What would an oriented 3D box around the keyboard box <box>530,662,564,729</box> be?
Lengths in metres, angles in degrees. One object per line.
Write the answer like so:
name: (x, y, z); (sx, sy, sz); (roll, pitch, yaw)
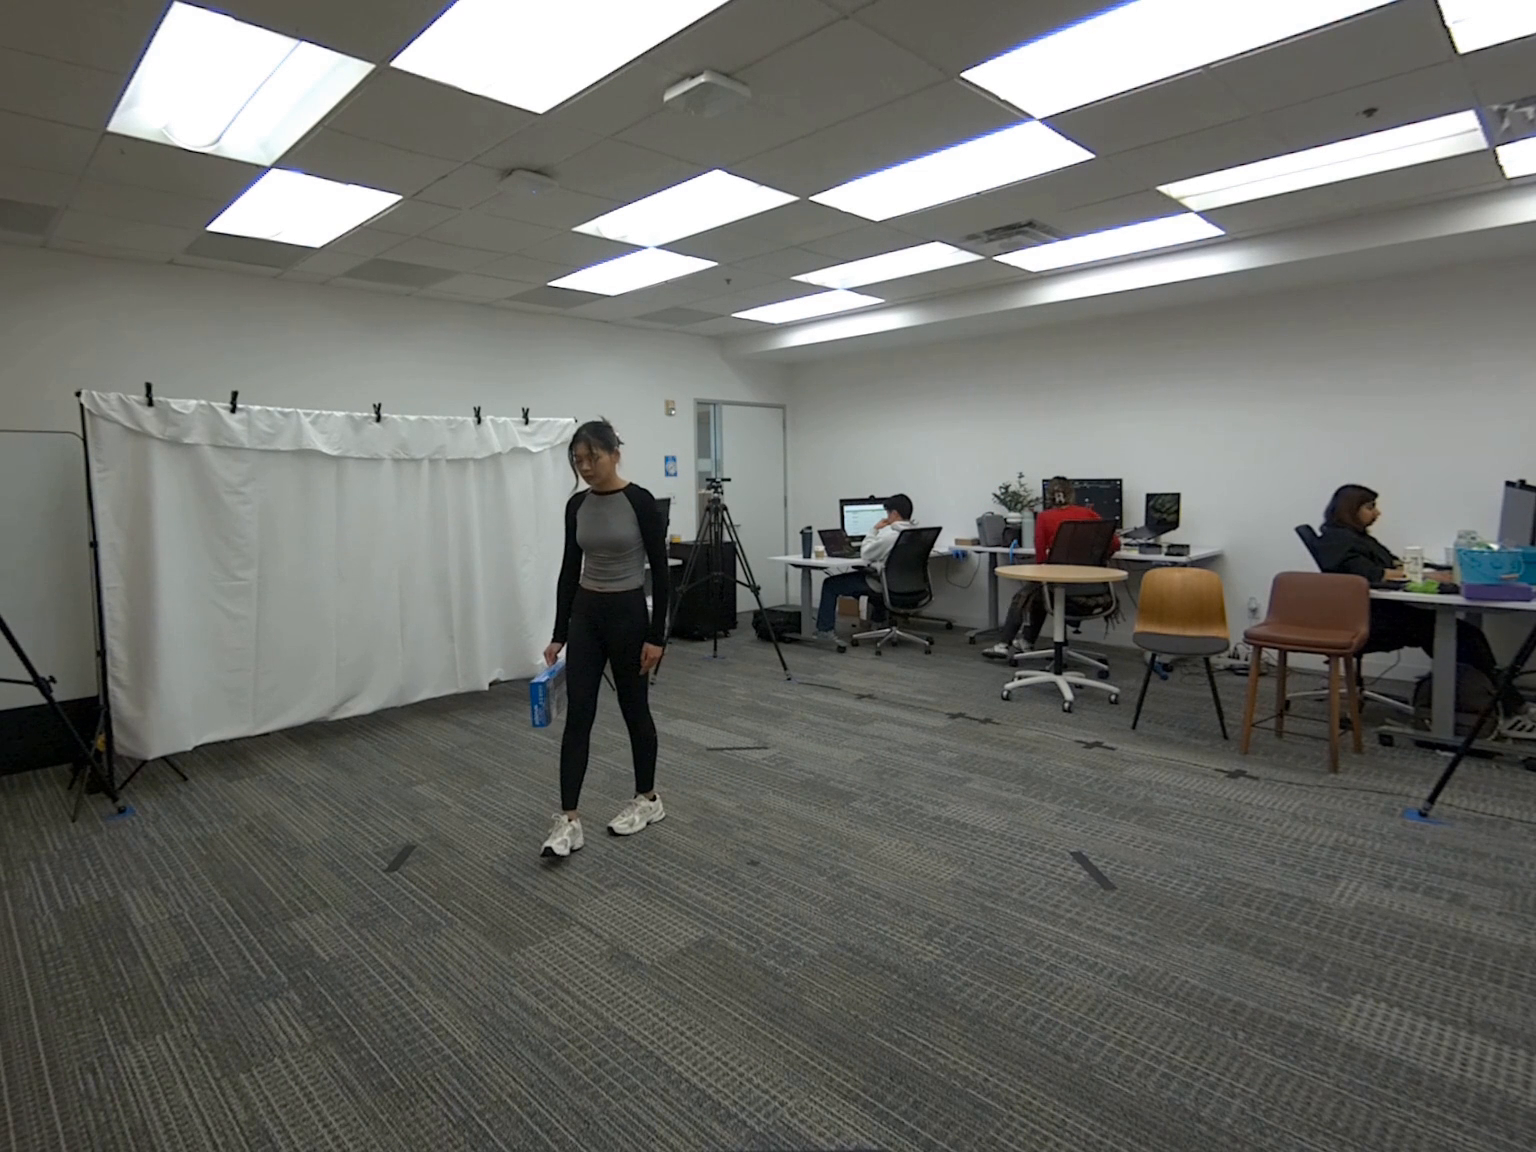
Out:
keyboard box: (-0.832, 0.441, 3.355); (0.059, 0.175, 0.437); (-2, 6, 2)
